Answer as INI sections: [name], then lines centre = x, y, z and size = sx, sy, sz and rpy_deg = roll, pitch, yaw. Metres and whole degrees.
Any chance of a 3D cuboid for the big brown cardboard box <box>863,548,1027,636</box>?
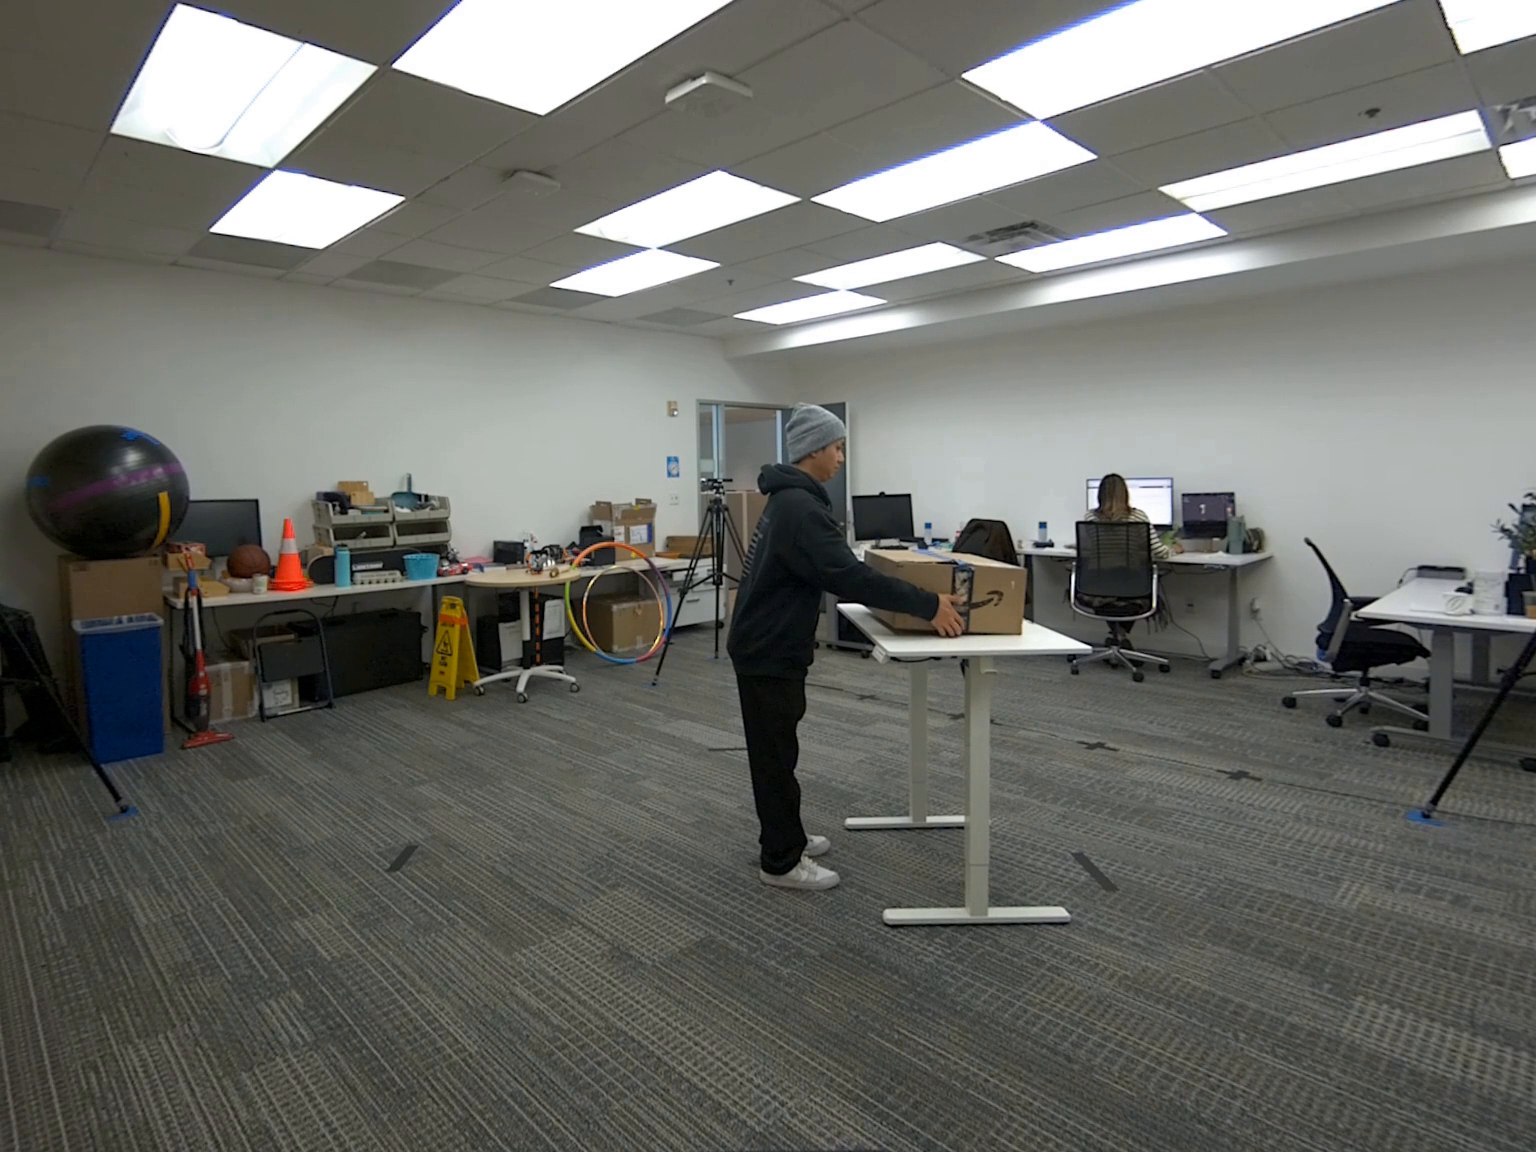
[big brown cardboard box]
centre = 0.582, 0.044, 2.995
size = 0.417, 0.232, 0.592
rpy_deg = 3, 4, -3
